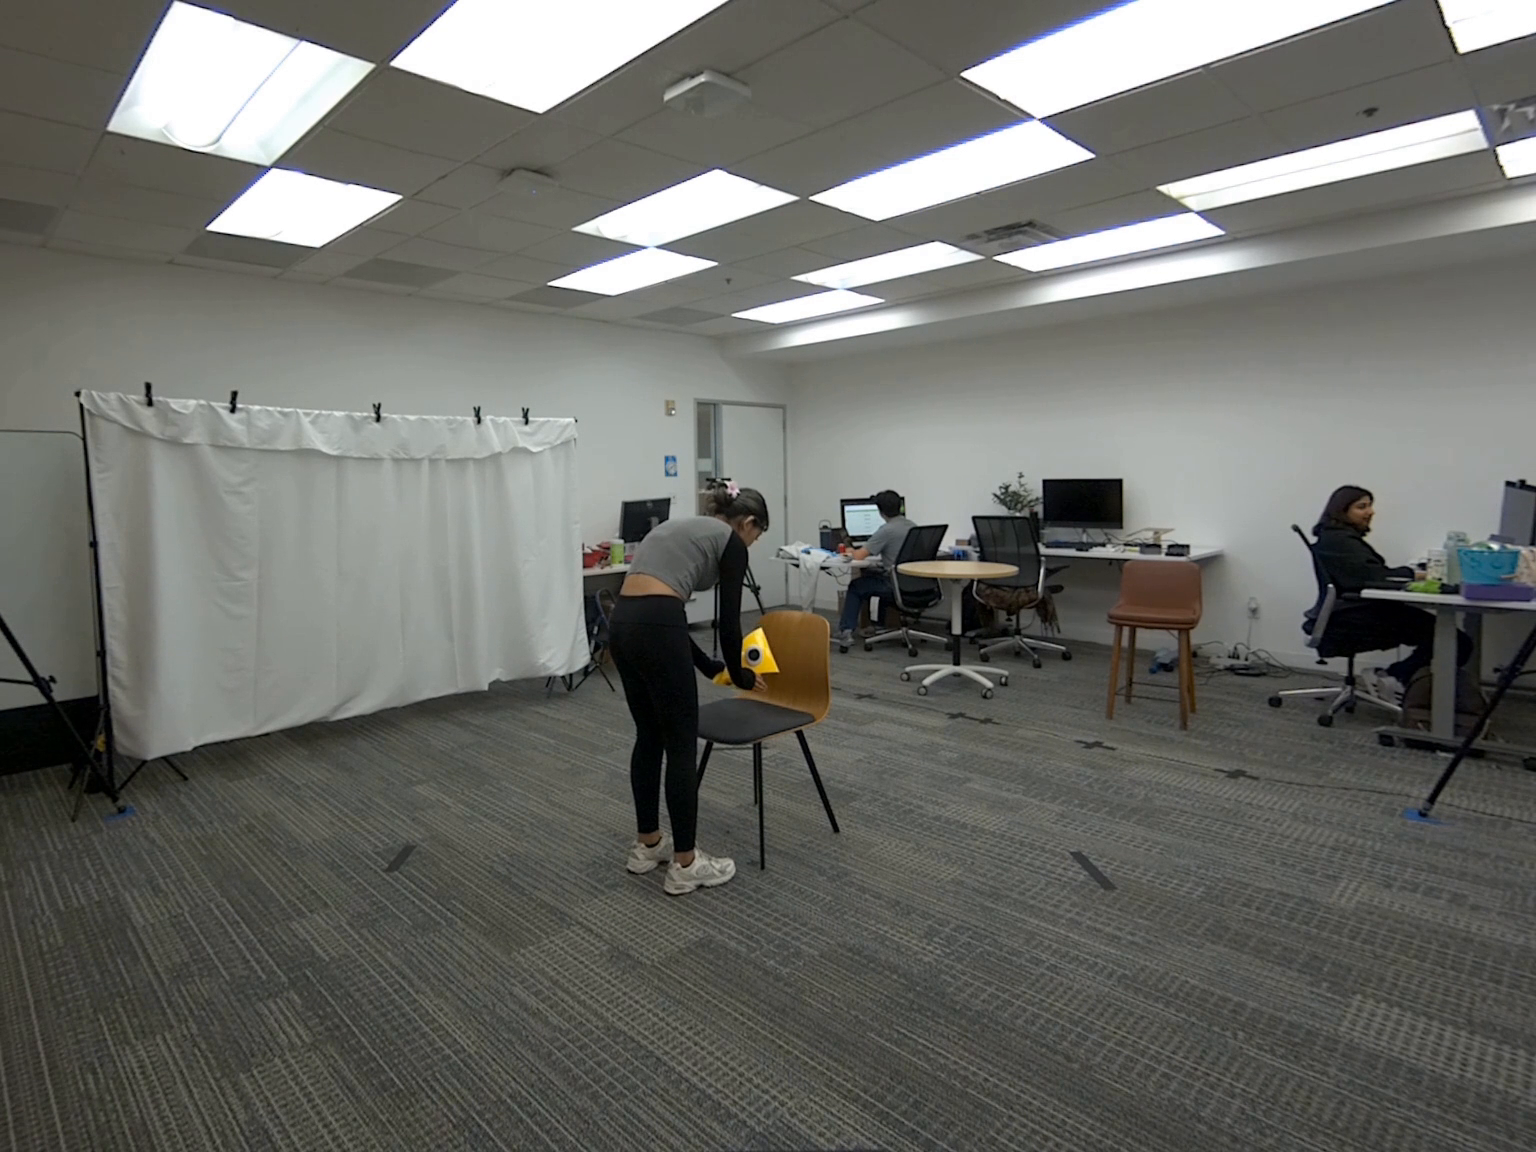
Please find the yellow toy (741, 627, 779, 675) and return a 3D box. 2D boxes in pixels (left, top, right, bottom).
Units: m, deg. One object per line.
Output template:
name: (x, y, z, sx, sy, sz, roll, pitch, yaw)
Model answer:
yellow toy: (-0.082, 0.305, 3.253, 0.187, 0.231, 0.211, 10, -4, -39)
